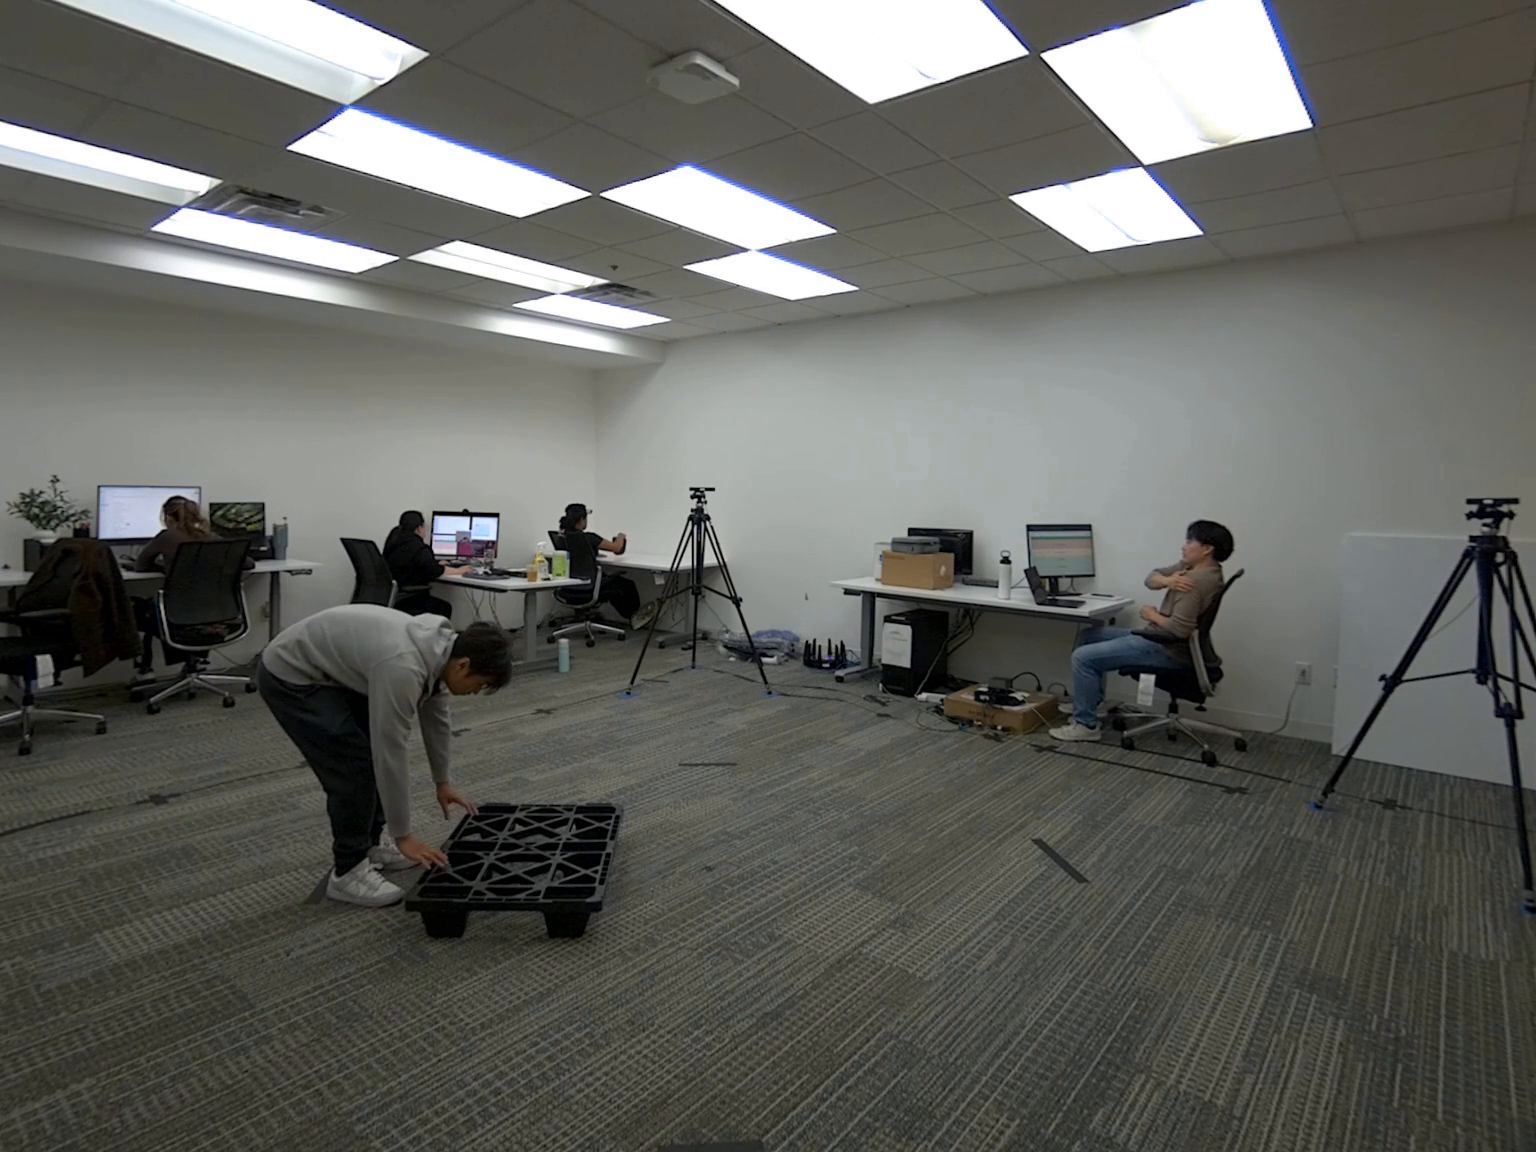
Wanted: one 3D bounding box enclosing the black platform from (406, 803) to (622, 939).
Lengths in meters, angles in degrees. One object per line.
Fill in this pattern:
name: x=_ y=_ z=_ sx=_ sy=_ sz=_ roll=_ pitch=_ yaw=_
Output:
black platform: x=-0.844 y=1.000 z=2.970 sx=0.603 sy=0.143 sz=0.812 roll=1 pitch=6 yaw=-4
